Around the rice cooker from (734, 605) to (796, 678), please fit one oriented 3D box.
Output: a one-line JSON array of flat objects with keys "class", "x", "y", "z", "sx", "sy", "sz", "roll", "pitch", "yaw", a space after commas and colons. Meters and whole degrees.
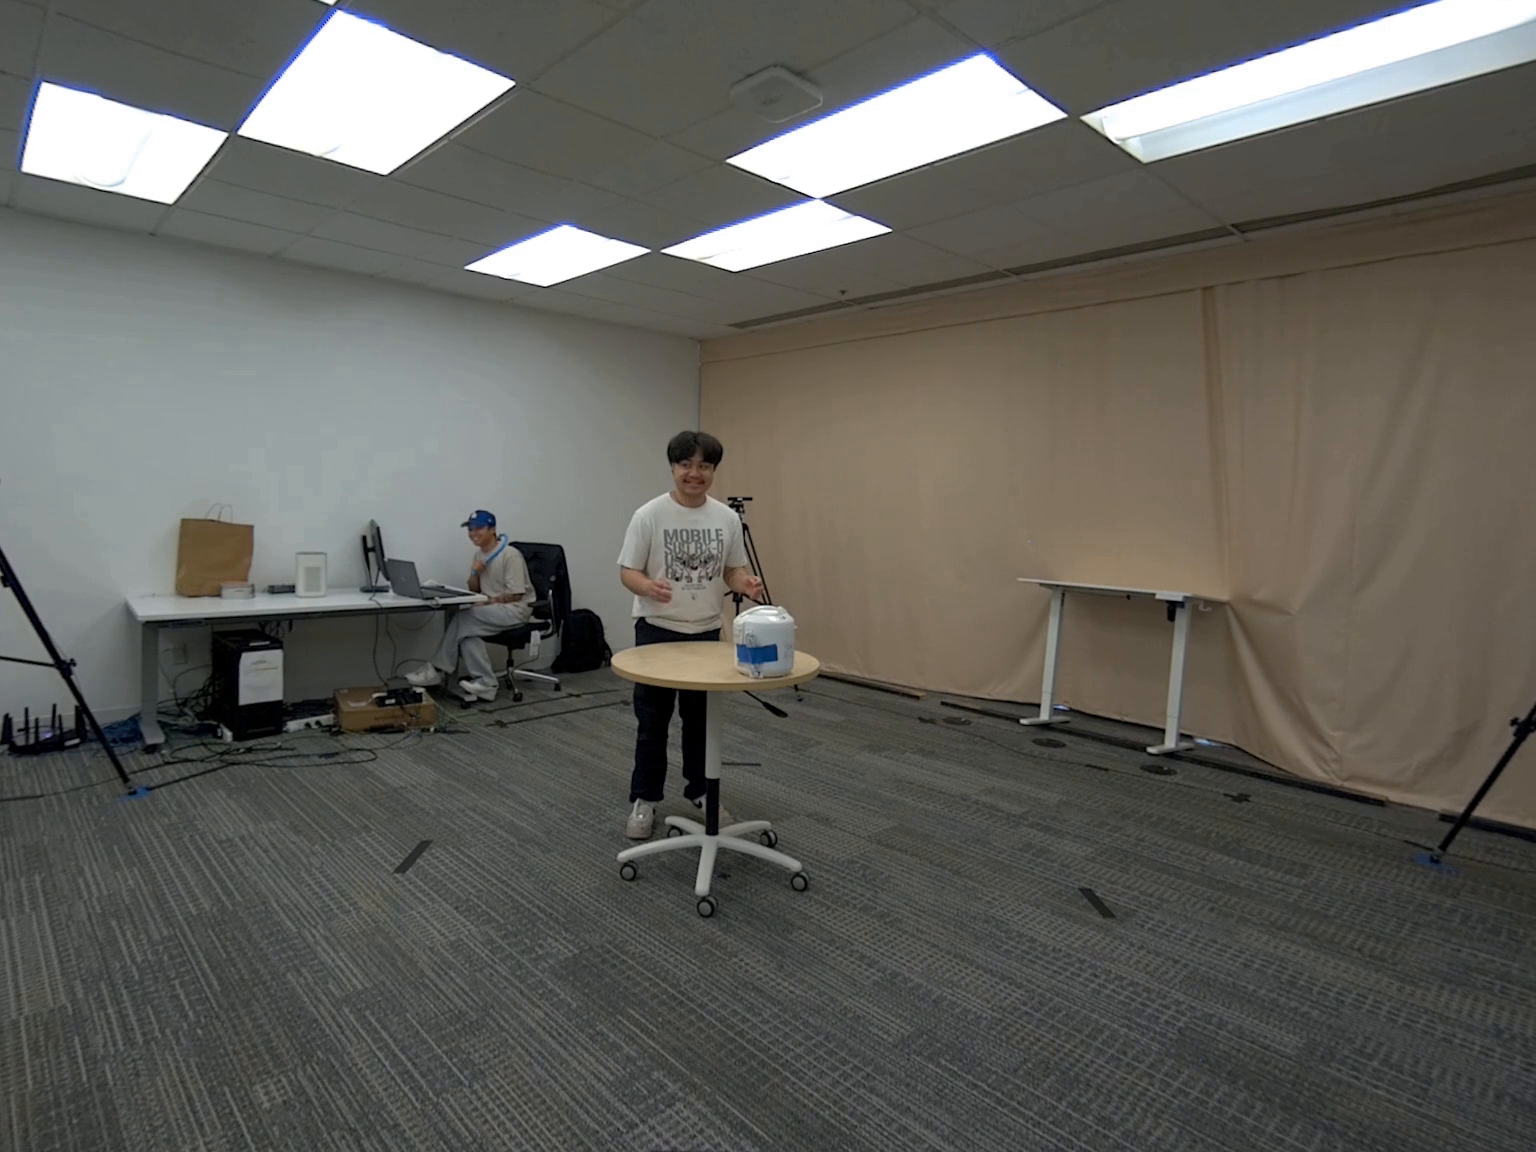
[{"class": "rice cooker", "x": -0.021, "y": 0.219, "z": 2.886, "sx": 0.217, "sy": 0.232, "sz": 0.222, "roll": 0, "pitch": 6, "yaw": -25}]
